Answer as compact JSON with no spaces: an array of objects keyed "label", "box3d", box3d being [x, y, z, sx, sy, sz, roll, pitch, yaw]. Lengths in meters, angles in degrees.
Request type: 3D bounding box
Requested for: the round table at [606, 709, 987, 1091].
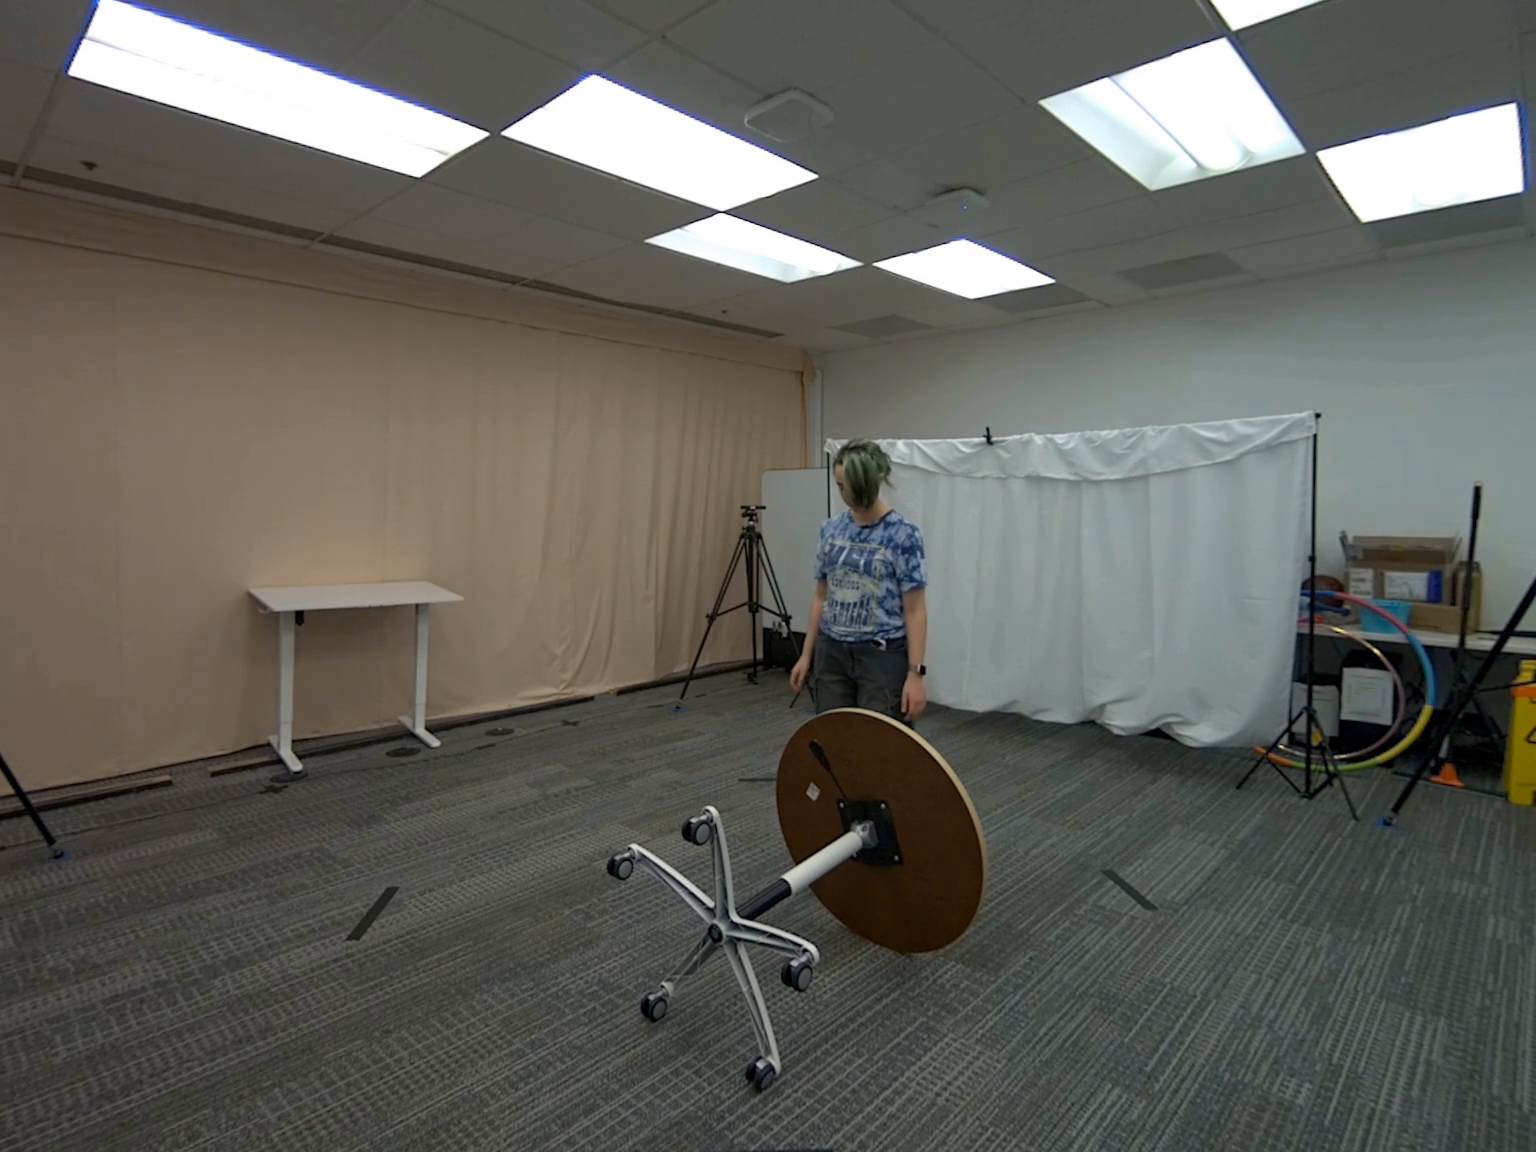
[{"label":"round table","box3d":[0.073,0.859,2.363,0.789,0.759,0.773,4,12,43]}]
